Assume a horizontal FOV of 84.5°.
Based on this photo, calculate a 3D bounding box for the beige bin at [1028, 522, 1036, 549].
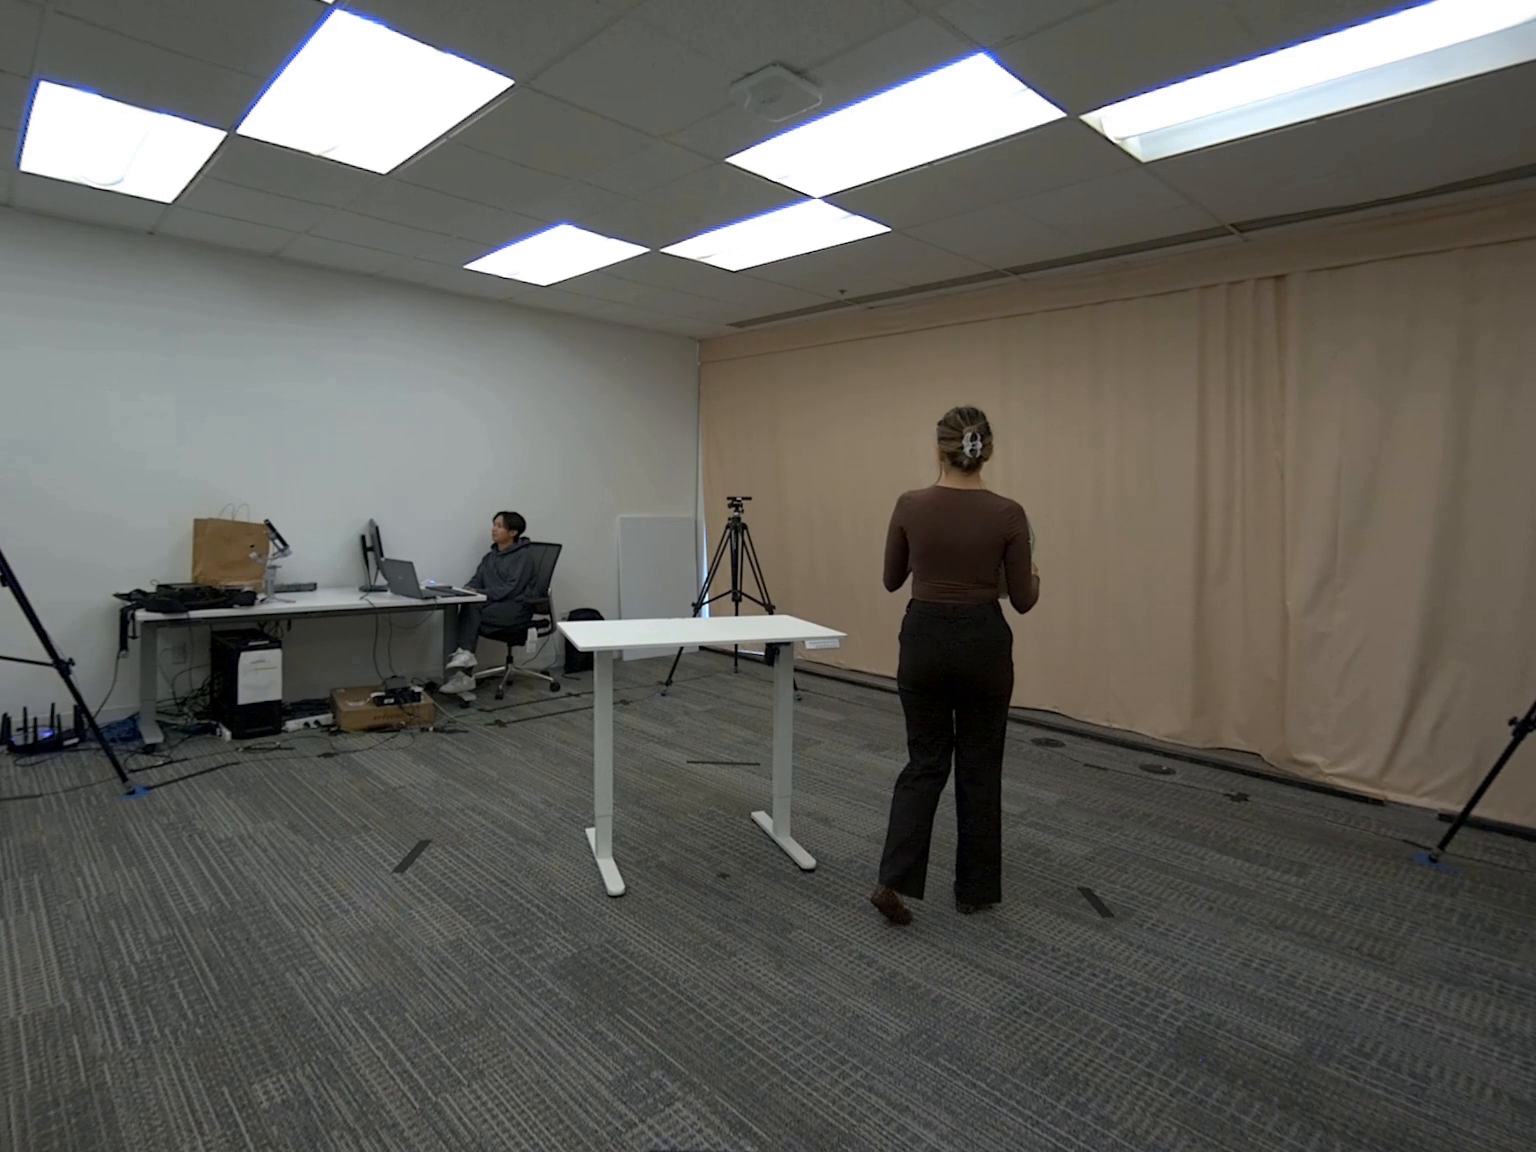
[{"bbox_3d":[0.779,-0.090,3.162,0.384,0.186,0.422,3,24,22],"label":"beige bin"}]
